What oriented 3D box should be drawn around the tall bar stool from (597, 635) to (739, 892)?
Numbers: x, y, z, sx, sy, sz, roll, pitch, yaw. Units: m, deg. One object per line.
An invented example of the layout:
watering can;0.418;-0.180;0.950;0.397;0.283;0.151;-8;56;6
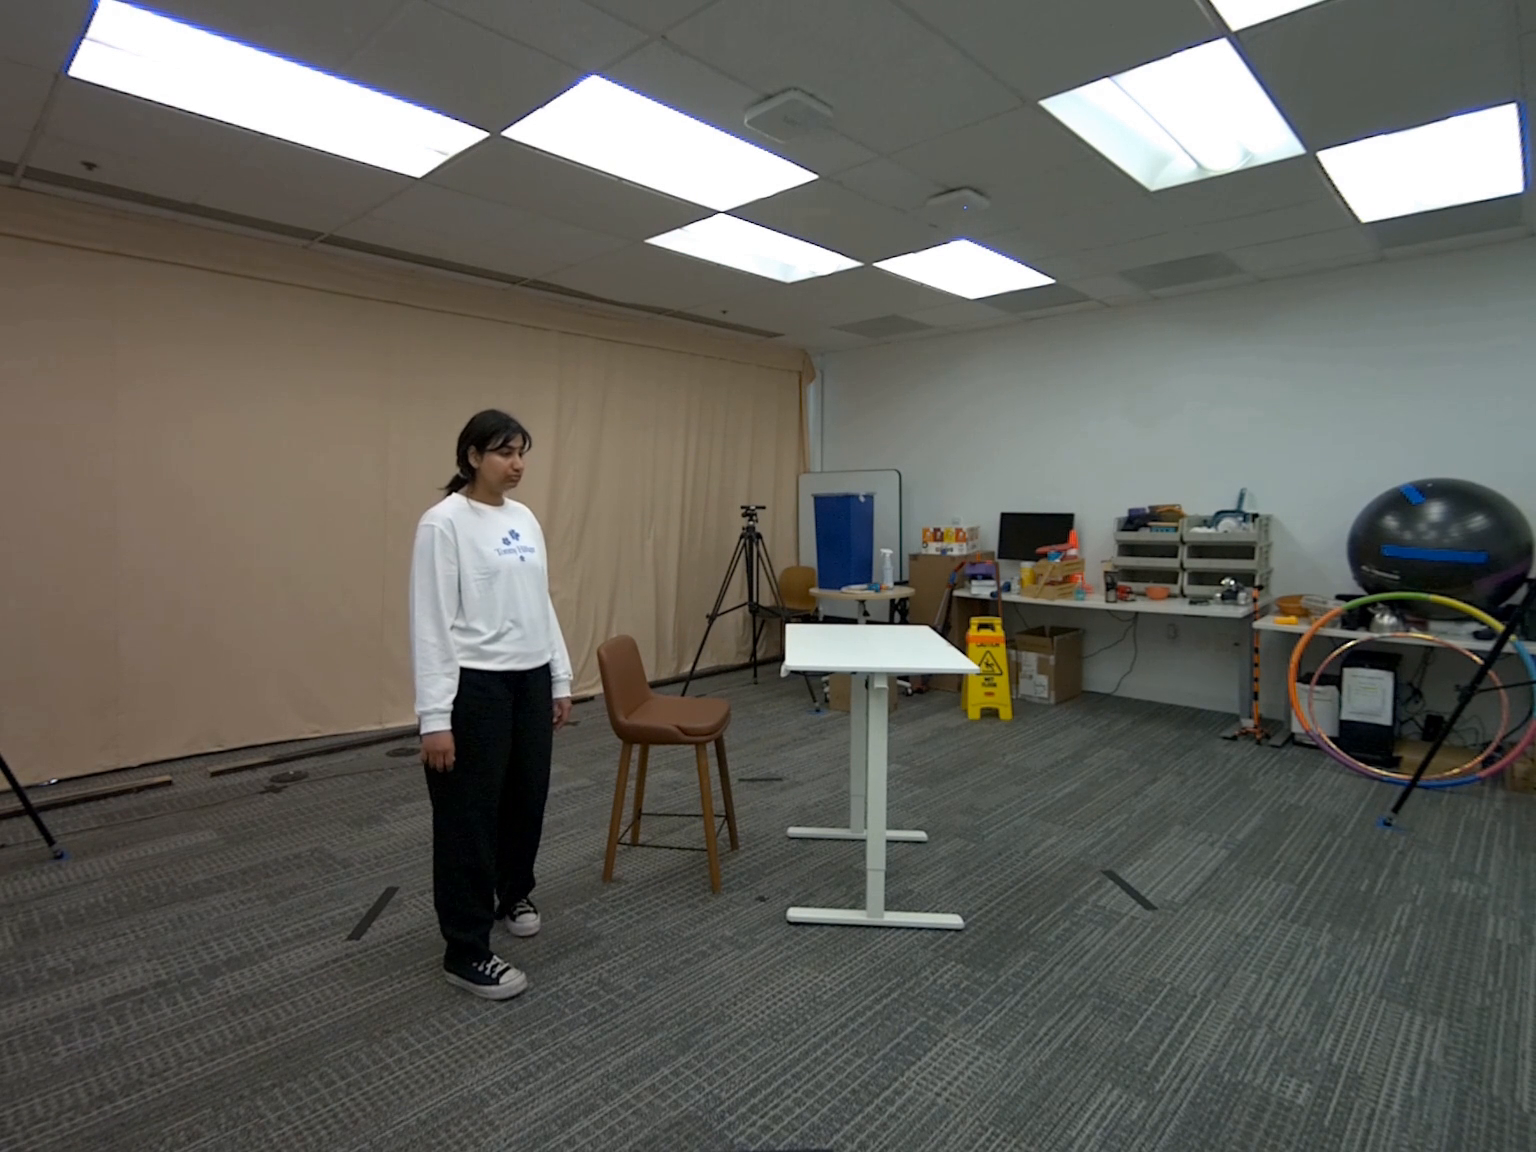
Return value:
tall bar stool;-0.372;0.690;3.245;0.474;0.888;0.451;-2;3;11
